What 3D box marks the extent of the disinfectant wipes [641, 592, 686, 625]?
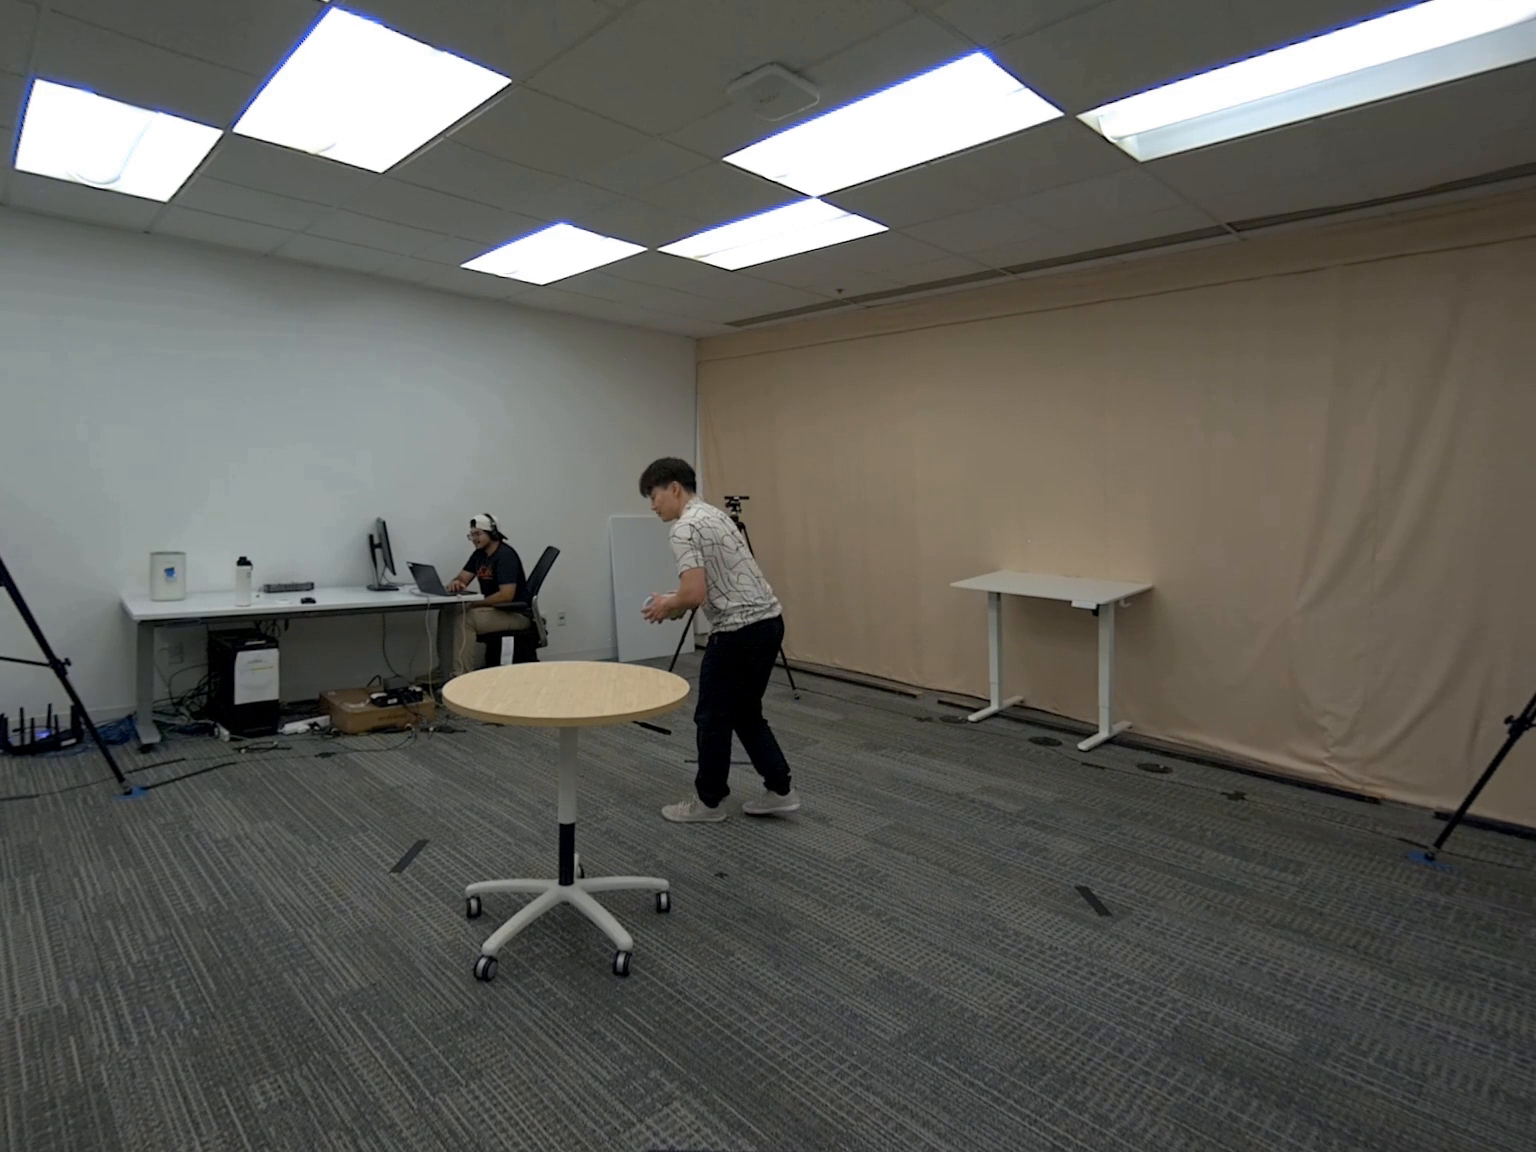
[{"bbox_3d":[-0.454,0.137,3.694,0.119,0.118,0.215,3,2,15],"label":"disinfectant wipes"}]
